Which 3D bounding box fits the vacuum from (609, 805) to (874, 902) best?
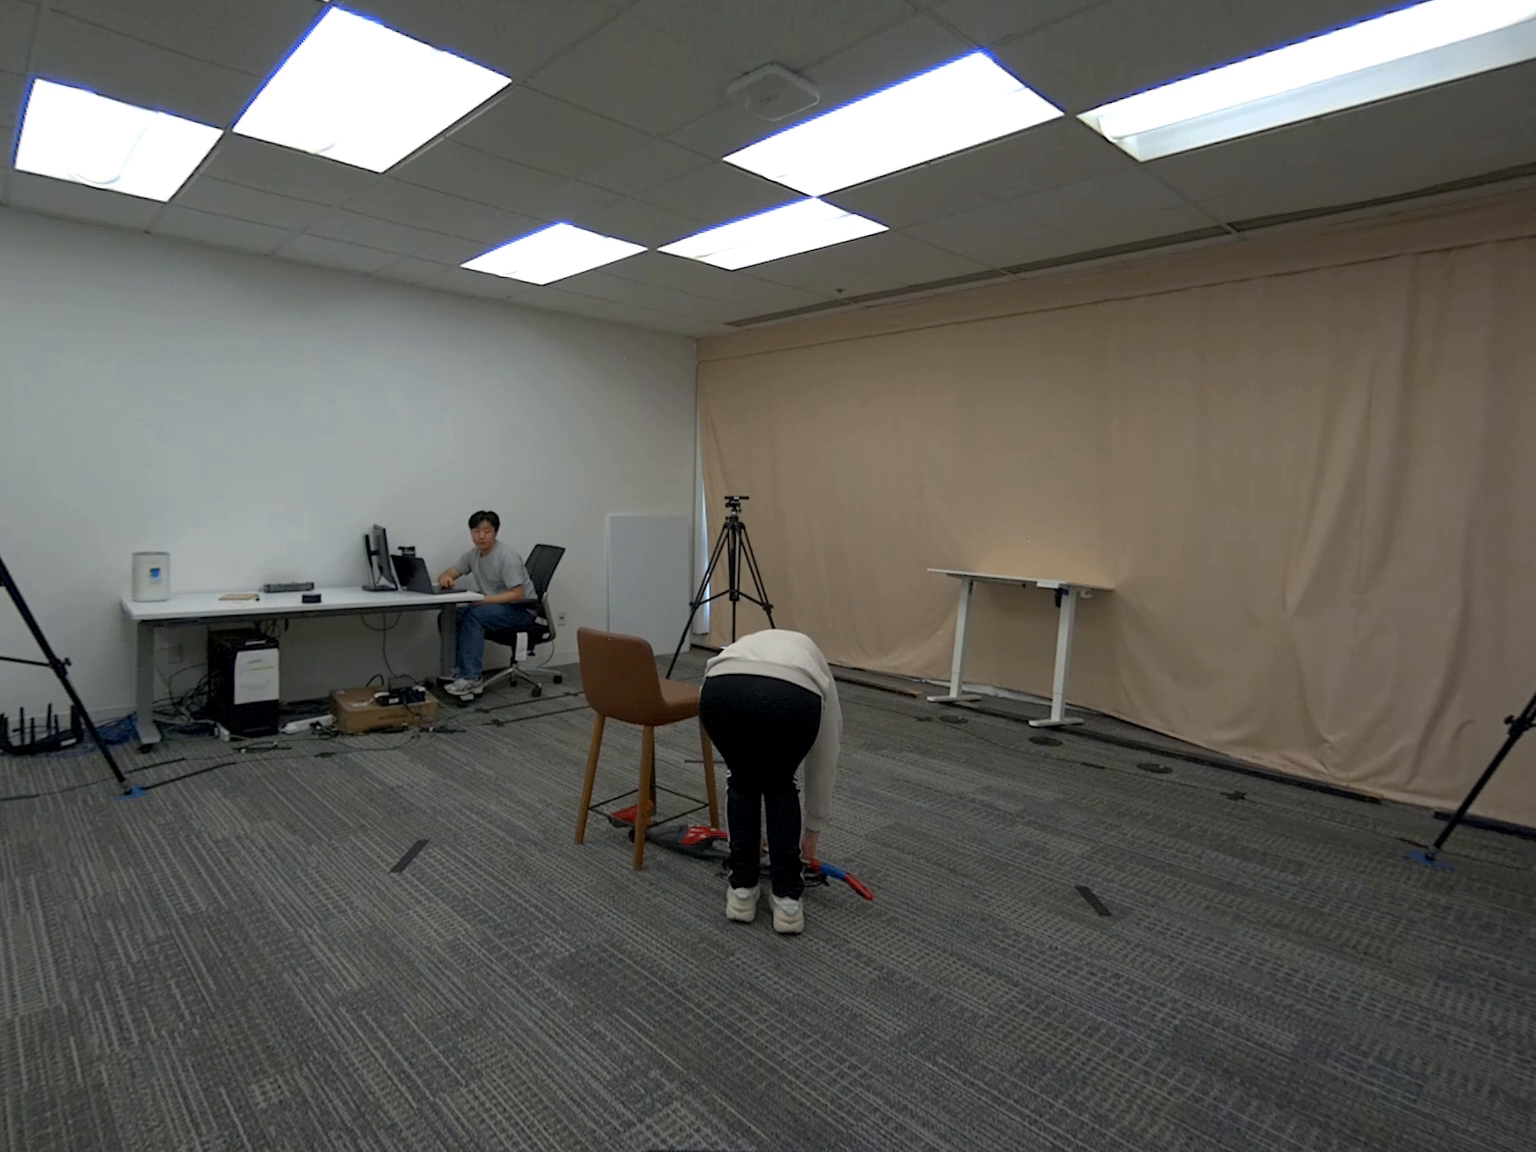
[{"bbox_3d":[-0.099,1.049,3.139,1.075,0.143,0.247,5,5,36],"label":"vacuum"}]
